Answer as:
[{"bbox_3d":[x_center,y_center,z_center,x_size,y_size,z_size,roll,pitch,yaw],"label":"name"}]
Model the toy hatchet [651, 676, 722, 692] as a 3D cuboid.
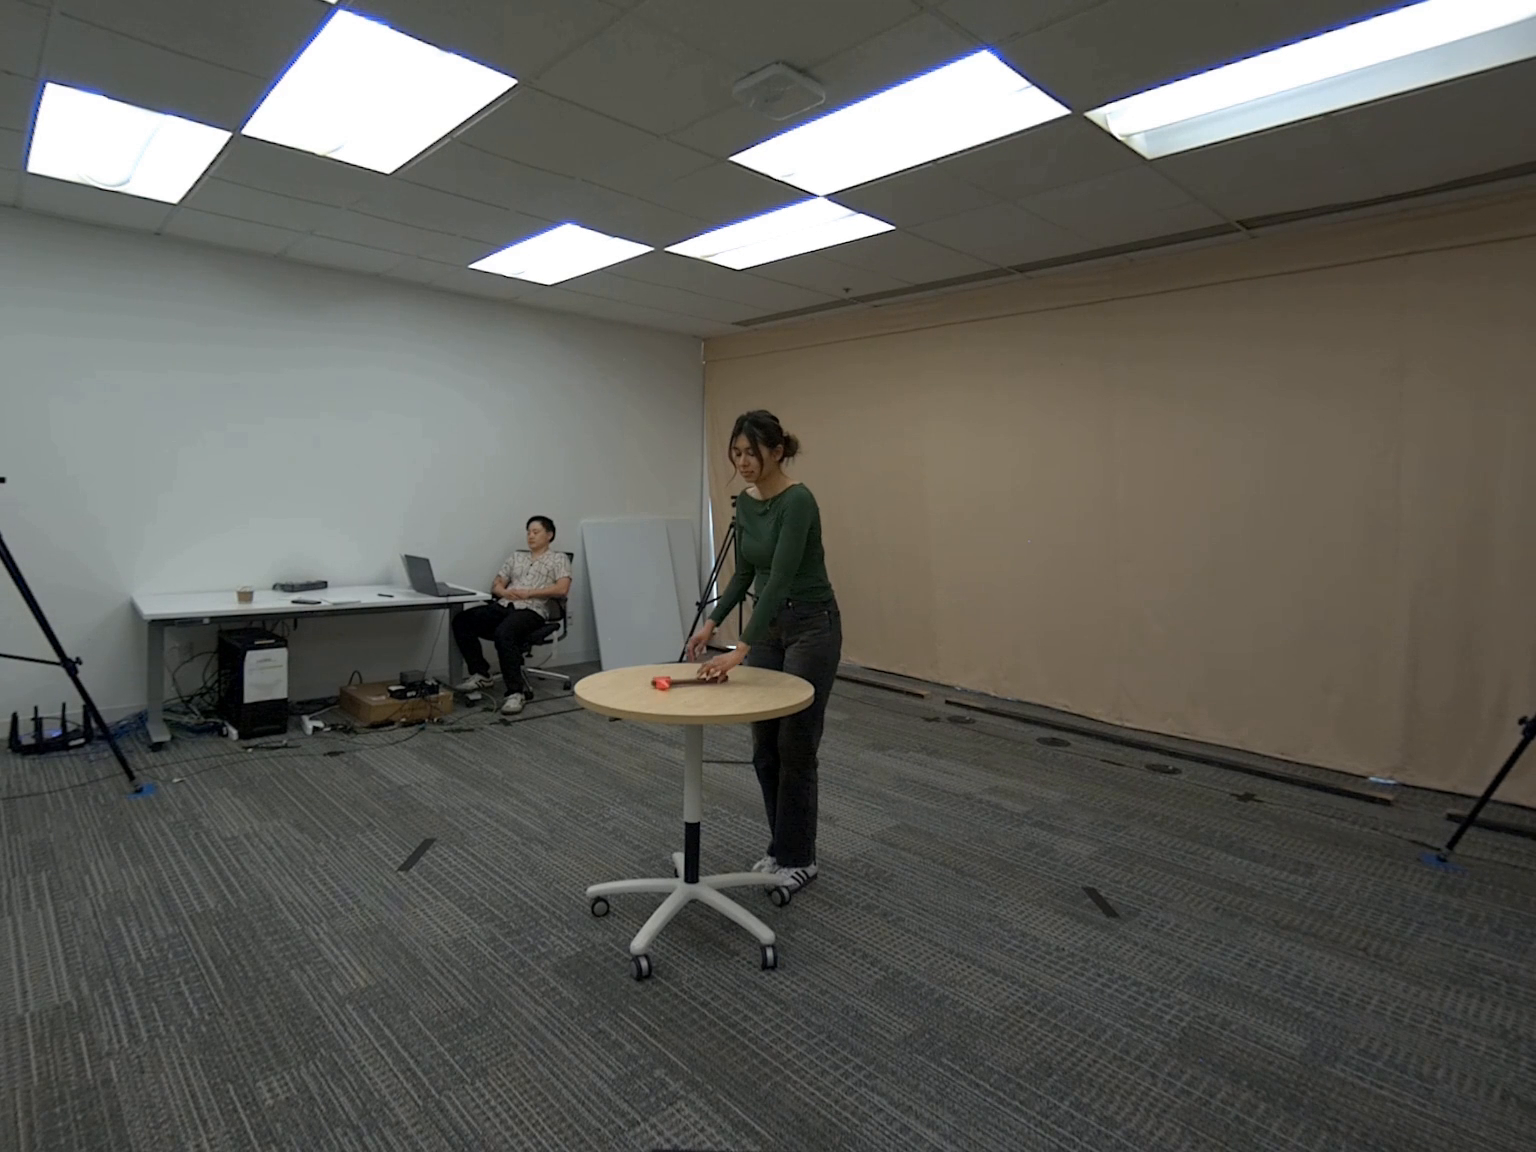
[{"bbox_3d":[-0.279,0.339,2.733,0.264,0.029,0.134,-1,4,-44],"label":"toy hatchet"}]
